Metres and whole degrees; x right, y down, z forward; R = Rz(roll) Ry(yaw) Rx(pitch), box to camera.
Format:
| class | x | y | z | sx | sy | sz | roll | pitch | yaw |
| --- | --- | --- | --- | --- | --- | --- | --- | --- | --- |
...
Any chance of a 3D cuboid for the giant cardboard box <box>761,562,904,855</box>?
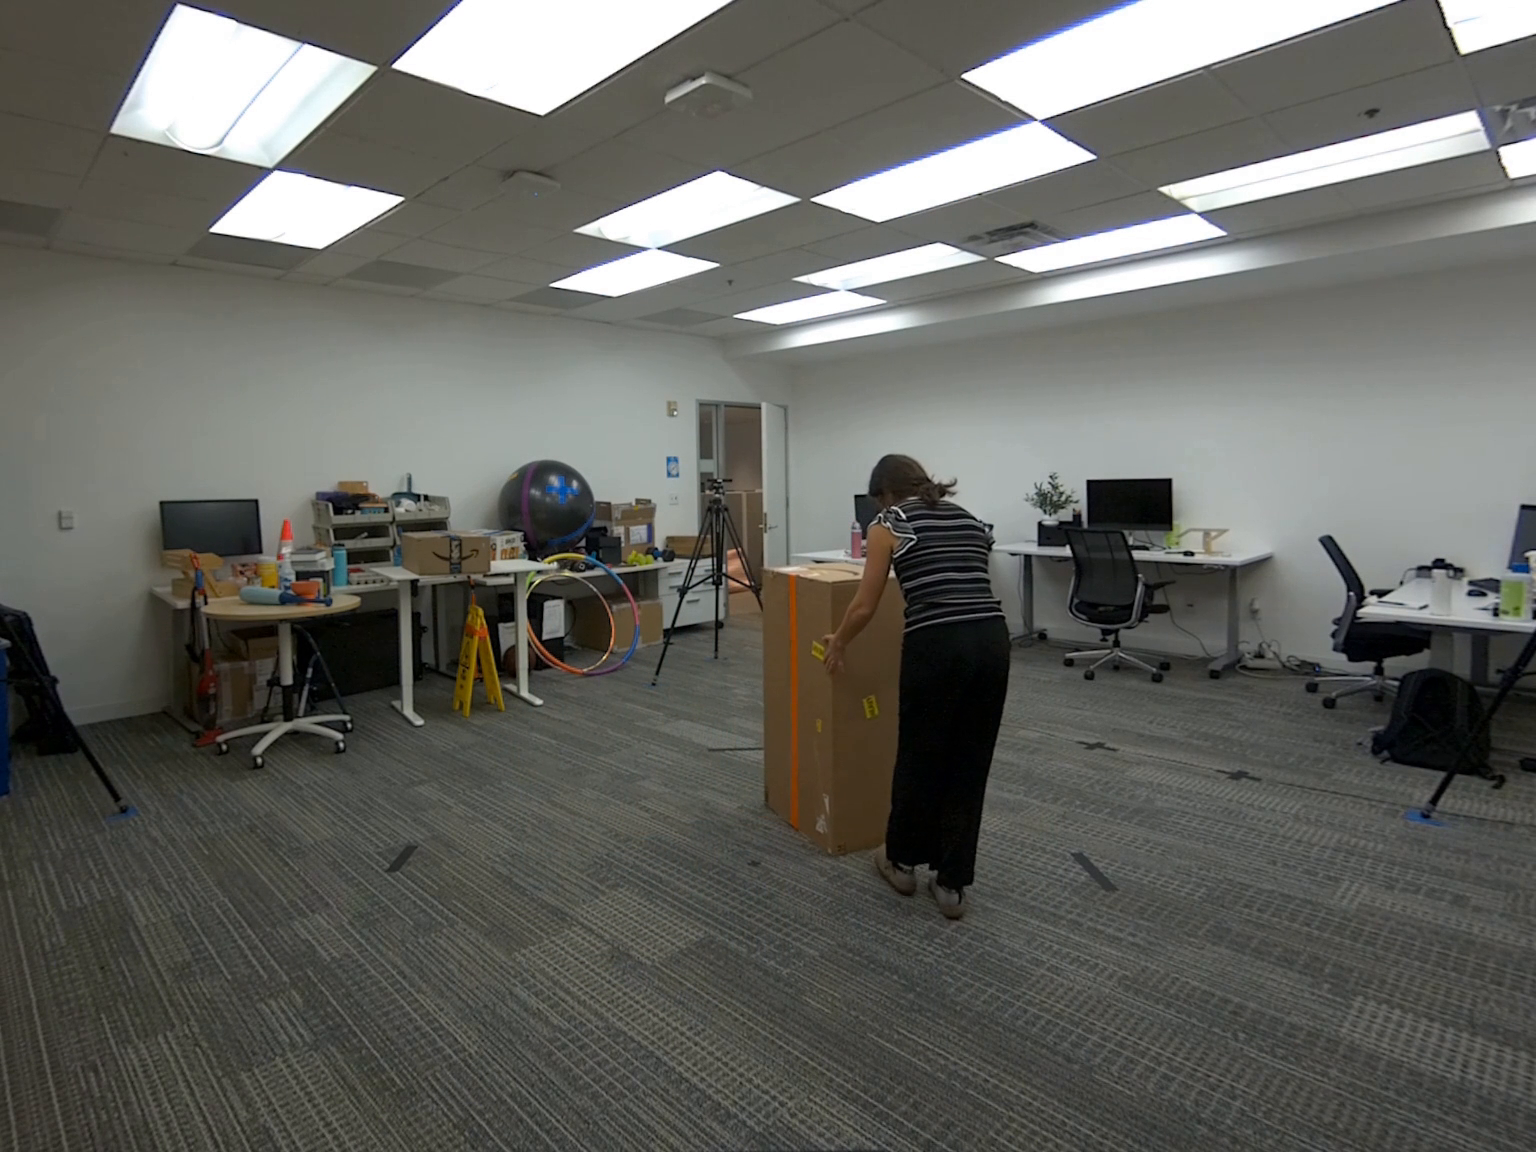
| class | x | y | z | sx | sy | sz | roll | pitch | yaw |
| --- | --- | --- | --- | --- | --- | --- | --- | --- | --- |
| giant cardboard box | 0.287 | 0.487 | 3.458 | 0.417 | 1.022 | 0.592 | -3 | 5 | -26 |
